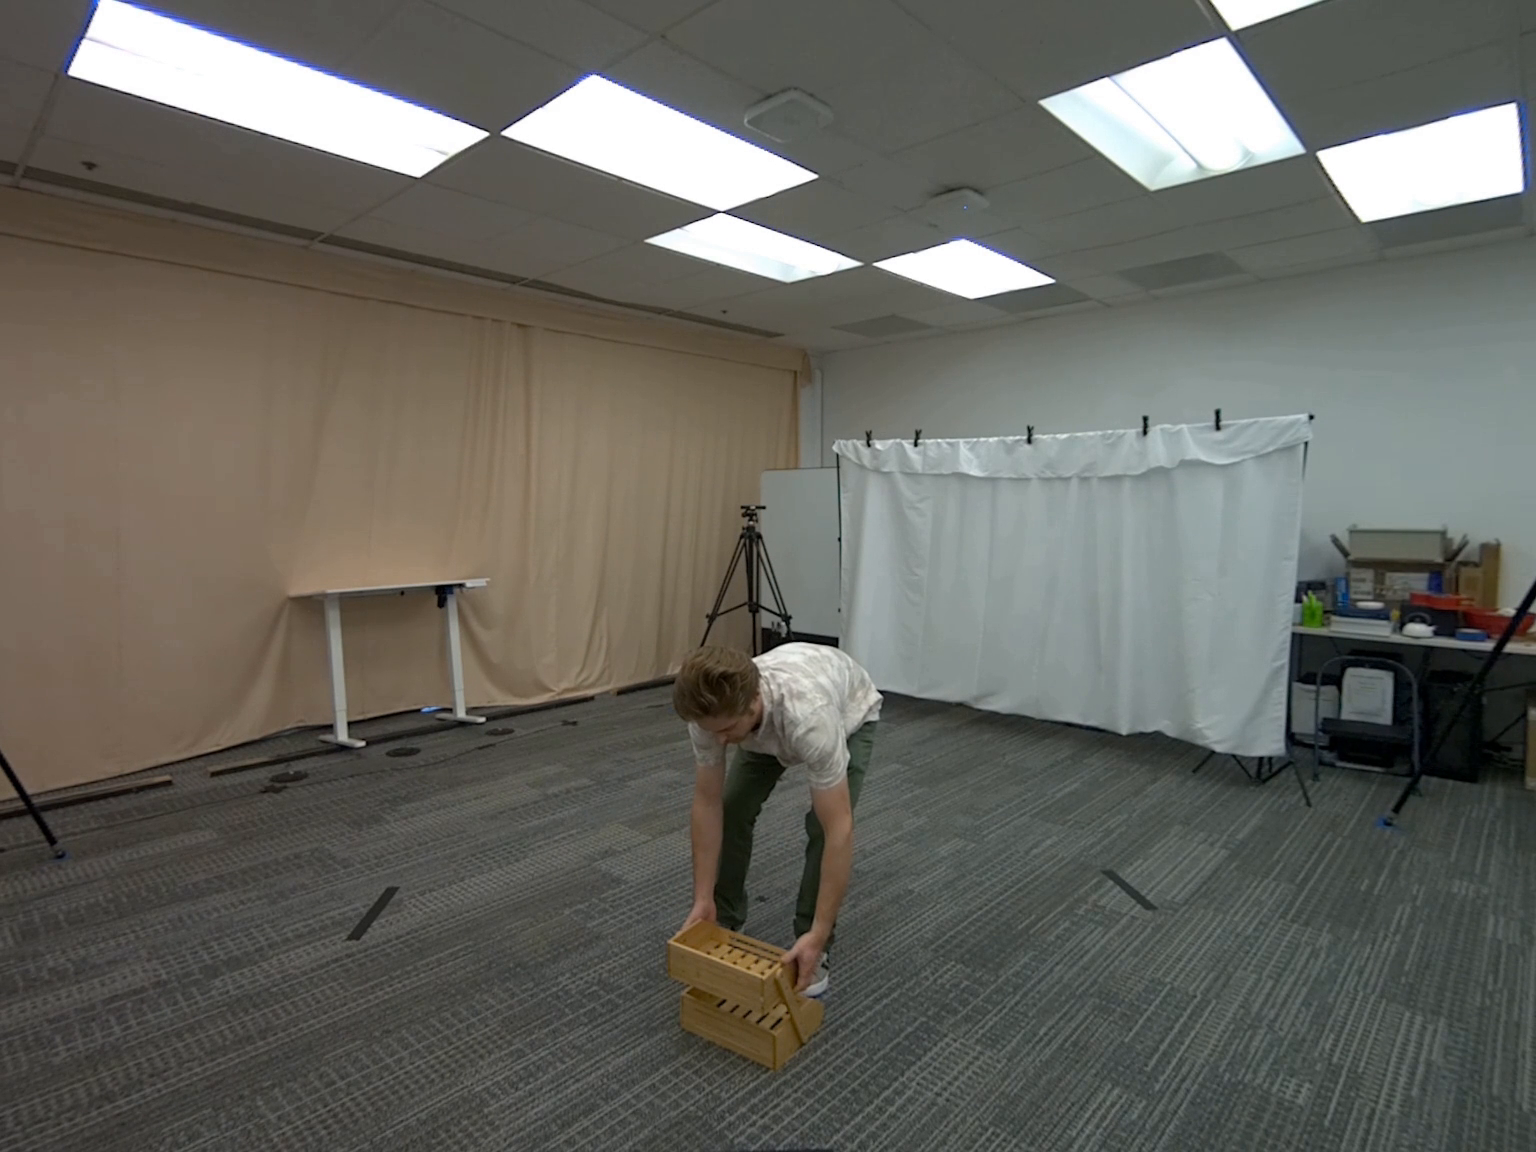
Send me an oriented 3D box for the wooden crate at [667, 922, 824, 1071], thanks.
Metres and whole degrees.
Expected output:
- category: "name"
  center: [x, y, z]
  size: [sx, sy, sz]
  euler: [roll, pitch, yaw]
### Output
- category: "wooden crate"
  center: [-0.049, 1.074, 2.228]
  size: [0.335, 0.272, 0.293]
  euler: [3, 6, 34]
